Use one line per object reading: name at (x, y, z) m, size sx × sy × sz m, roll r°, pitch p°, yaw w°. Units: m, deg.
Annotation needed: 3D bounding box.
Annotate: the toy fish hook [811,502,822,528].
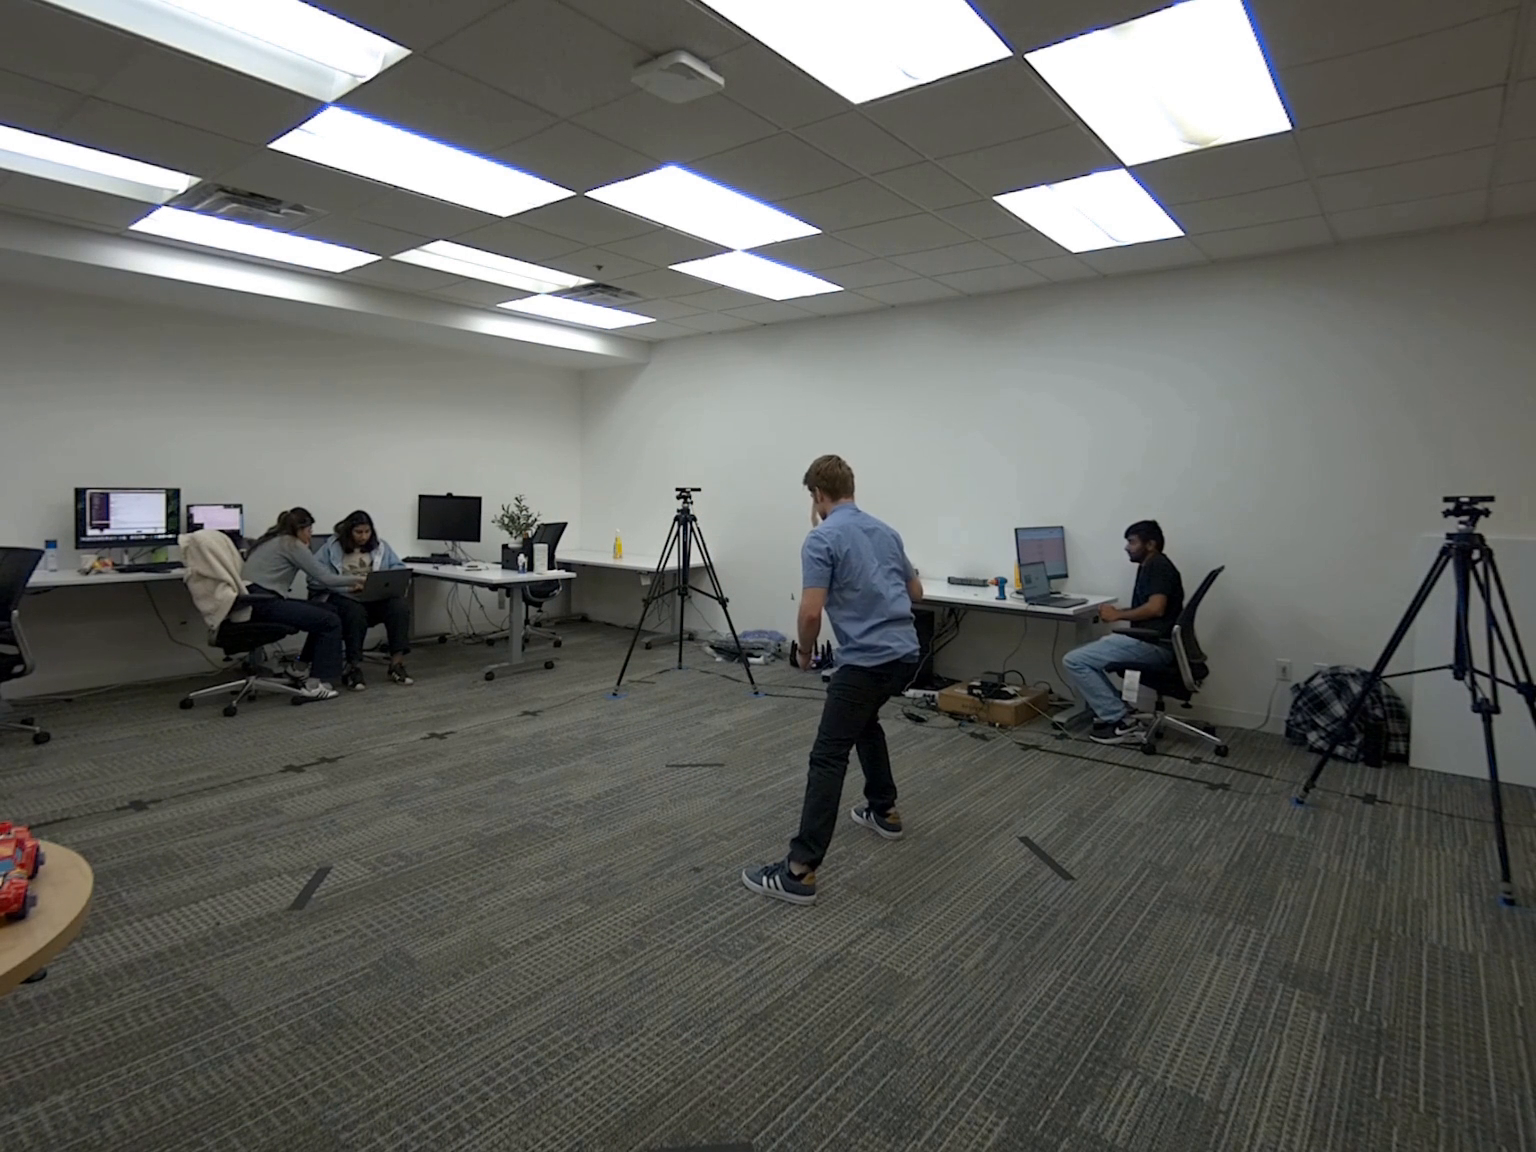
toy fish hook at (0.295, -0.147, 3.797) m, size 0.047 × 0.507 × 0.230 m, roll -10°, pitch -1°, yaw -41°
